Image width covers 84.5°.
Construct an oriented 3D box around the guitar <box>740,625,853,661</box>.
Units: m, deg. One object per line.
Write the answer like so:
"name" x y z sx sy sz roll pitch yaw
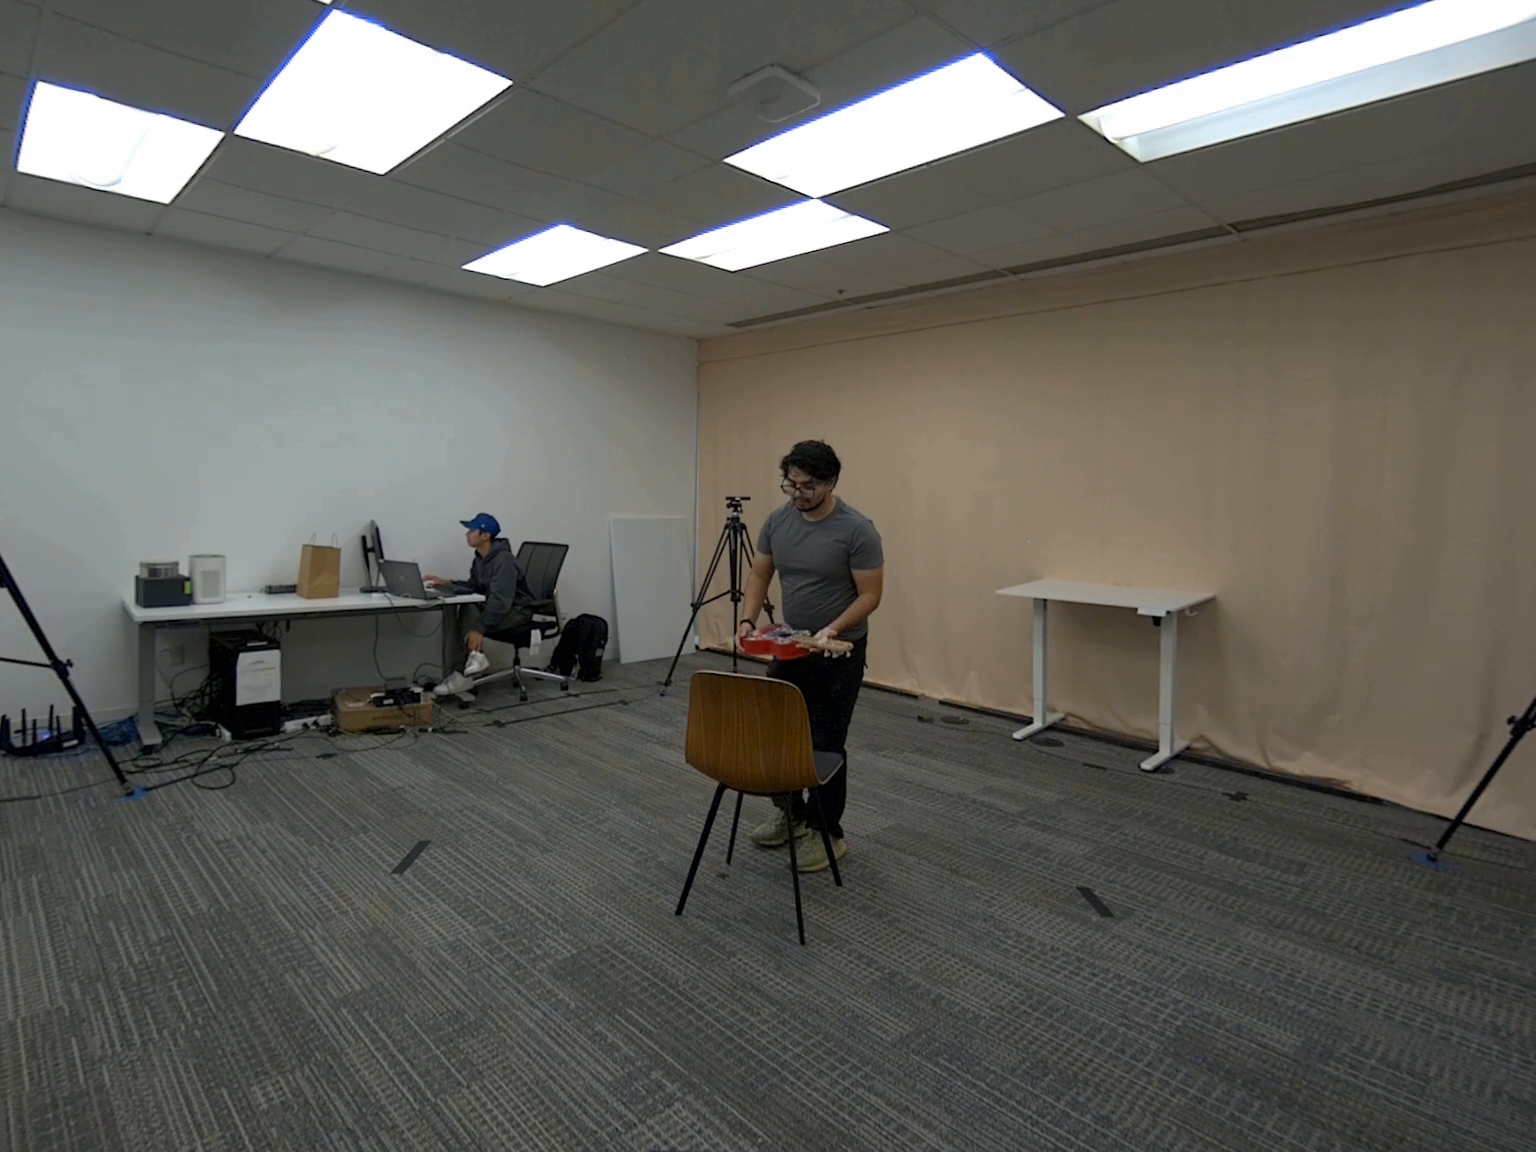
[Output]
"guitar" 0.077 0.256 2.956 0.190 0.070 0.509 -16 14 -26
